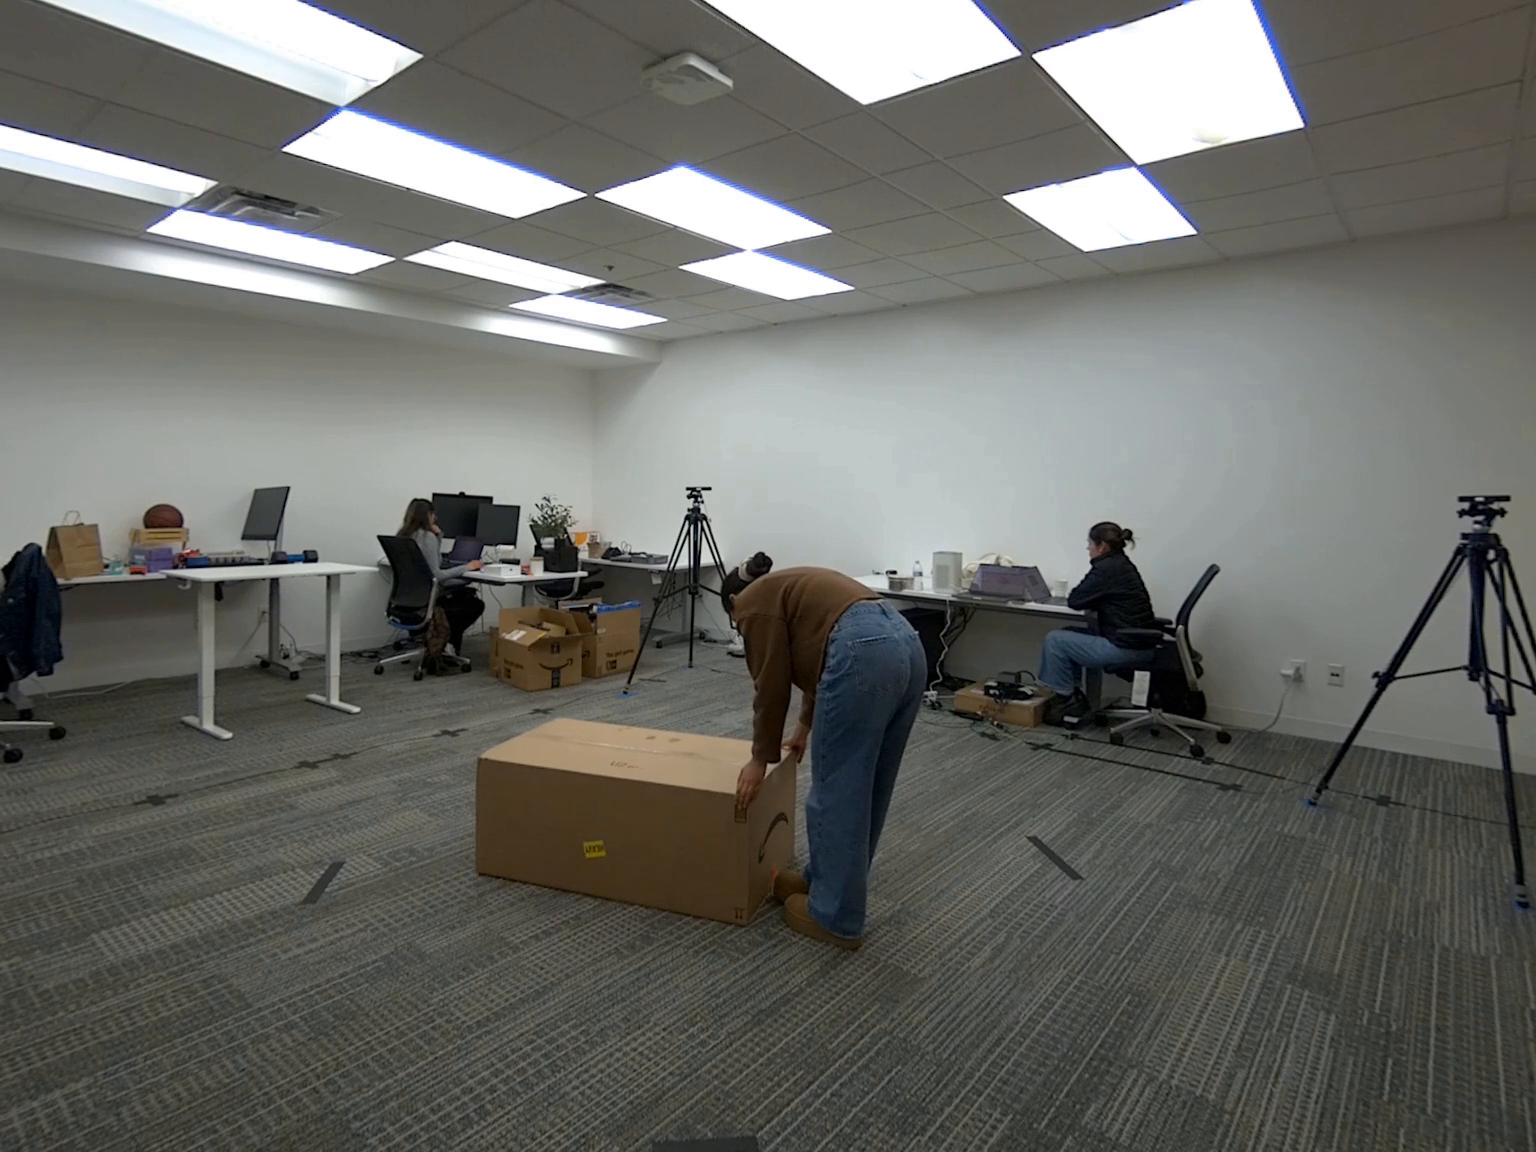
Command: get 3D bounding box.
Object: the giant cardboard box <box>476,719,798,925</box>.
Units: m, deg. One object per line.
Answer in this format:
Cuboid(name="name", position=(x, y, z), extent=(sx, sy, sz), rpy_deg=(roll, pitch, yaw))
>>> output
Cuboid(name="giant cardboard box", position=(-0.484, 0.848, 3.118), extent=(1.048, 0.445, 0.575), rpy_deg=(2, 6, 19))
